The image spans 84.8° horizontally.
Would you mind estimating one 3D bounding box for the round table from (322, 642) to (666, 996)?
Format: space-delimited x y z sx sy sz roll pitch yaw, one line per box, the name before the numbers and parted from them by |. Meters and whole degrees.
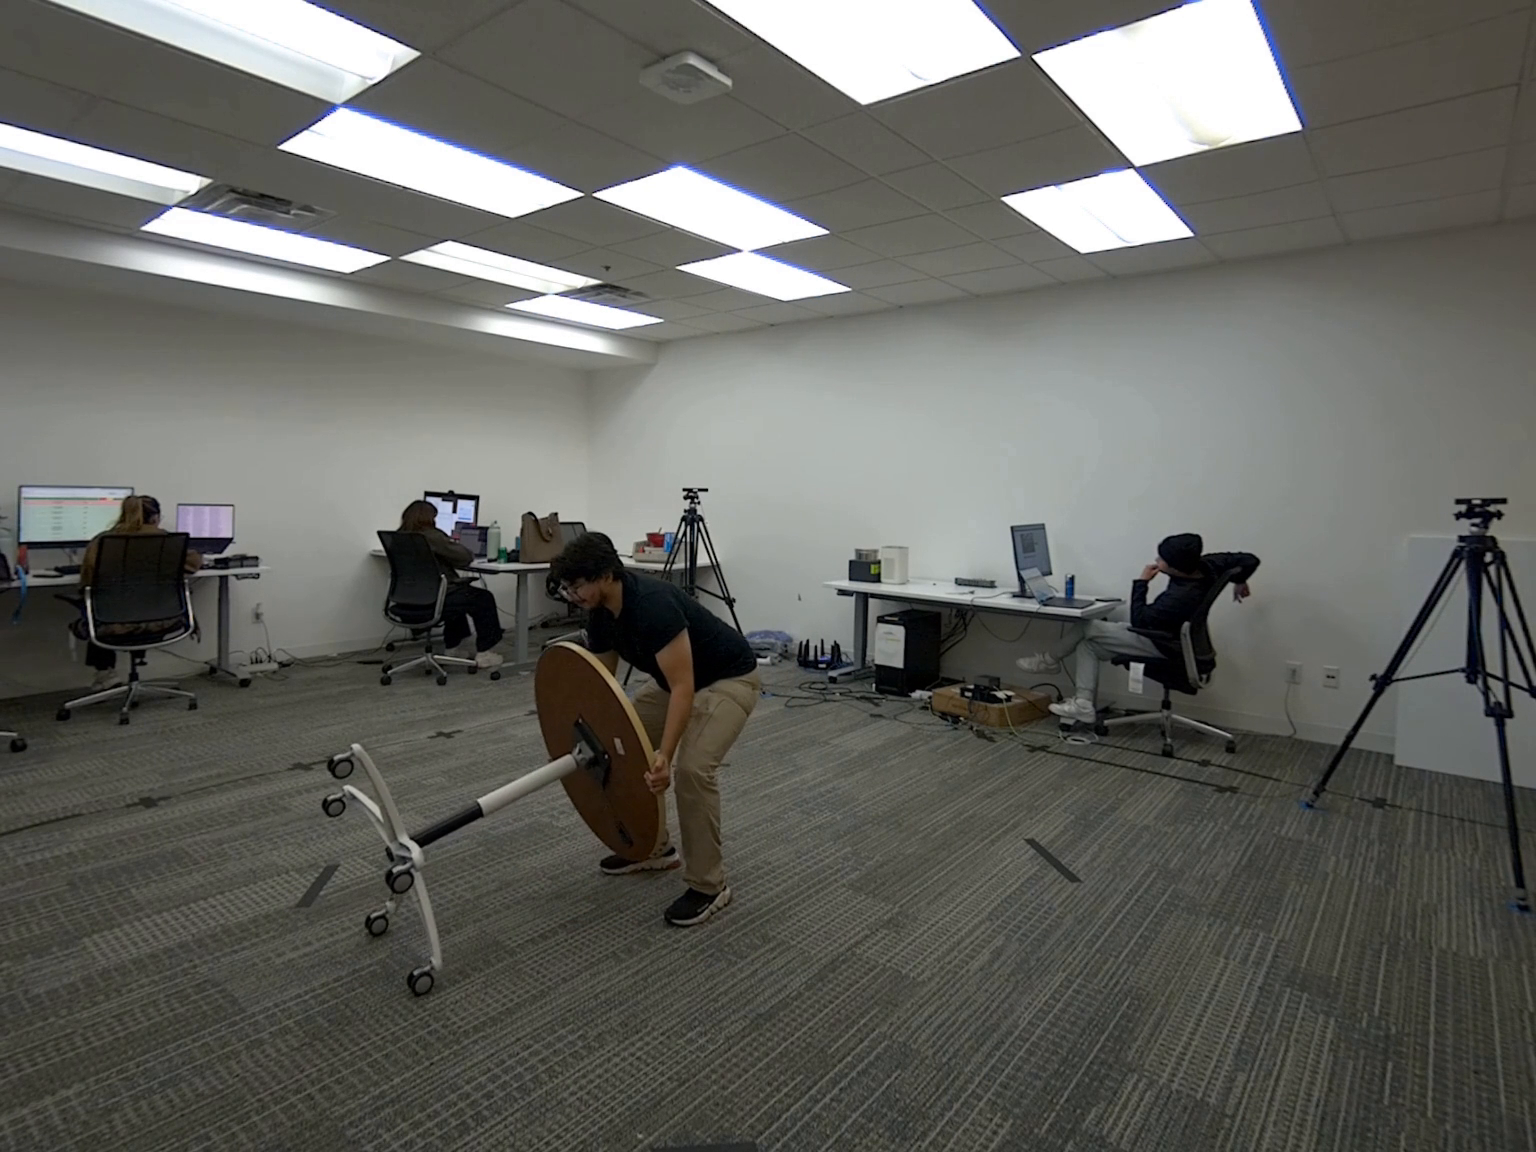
round table | -0.883 0.700 2.640 0.772 0.774 0.812 -21 17 -37
